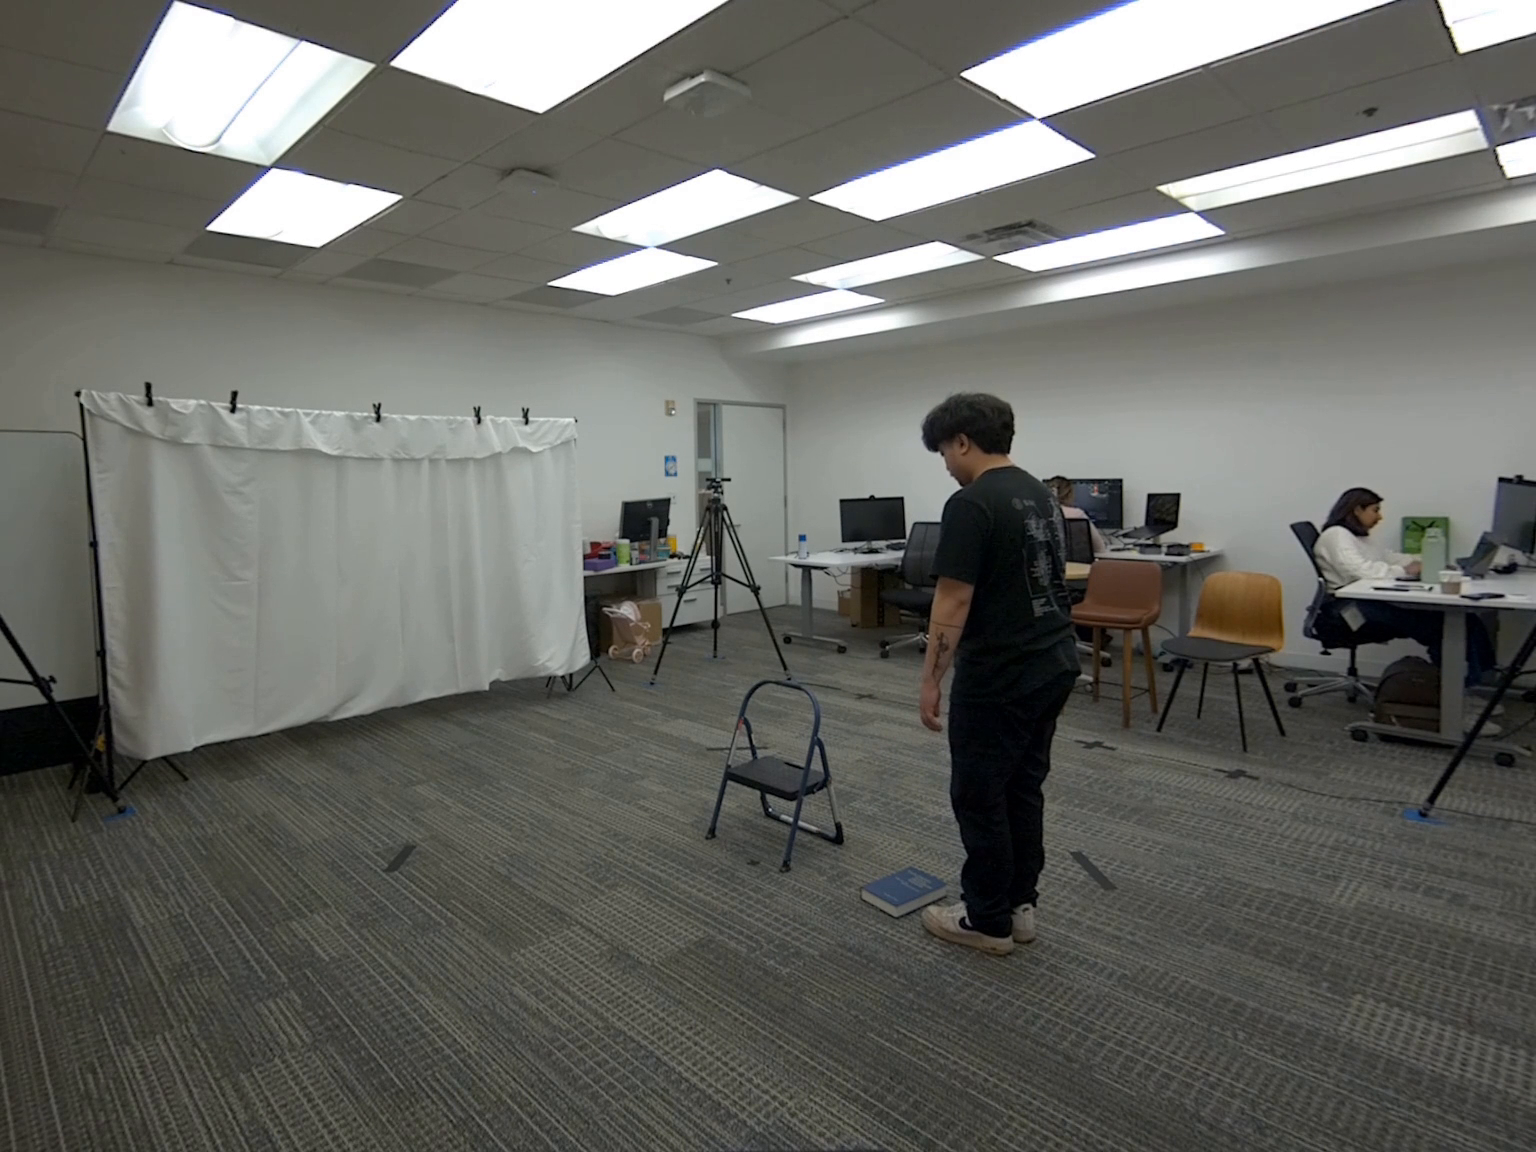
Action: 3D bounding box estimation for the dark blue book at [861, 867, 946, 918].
[{"bbox_3d":[0.458,1.047,2.820,0.239,0.045,0.168,-6,8,-36],"label":"dark blue book"}]
